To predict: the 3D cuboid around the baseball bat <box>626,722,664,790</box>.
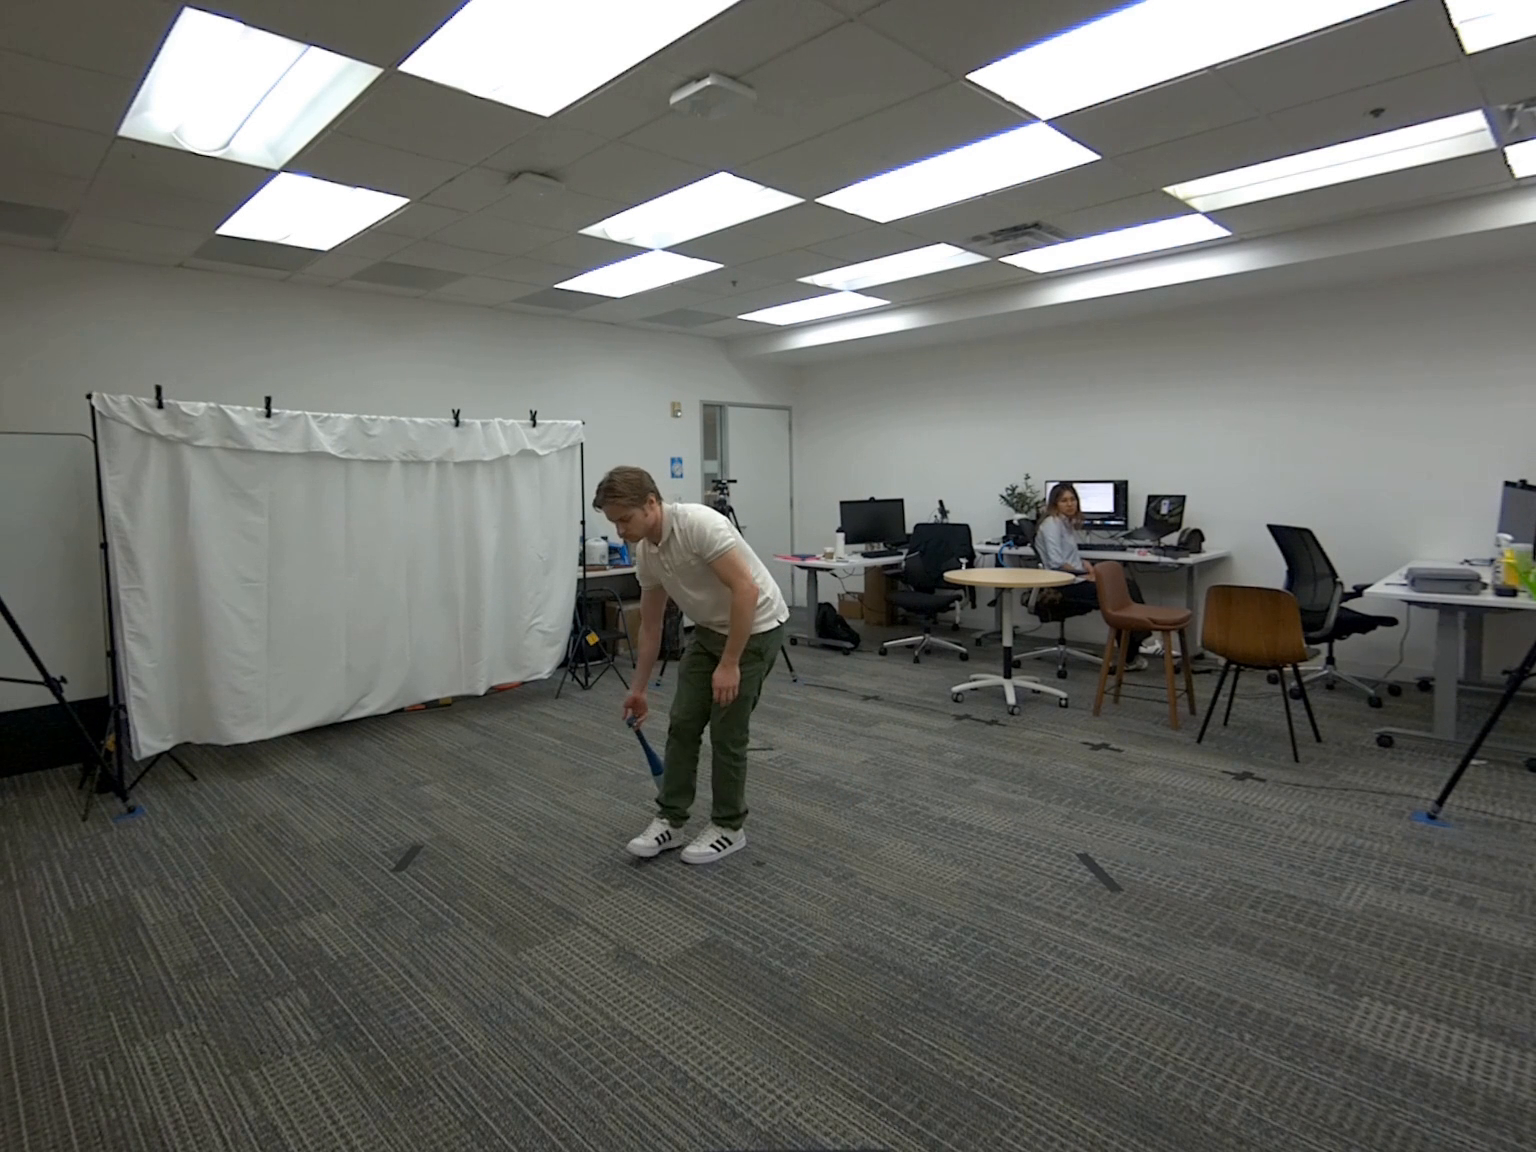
[{"bbox_3d":[-0.443,0.776,3.466,0.089,0.526,0.091,-17,30,9],"label":"baseball bat"}]
